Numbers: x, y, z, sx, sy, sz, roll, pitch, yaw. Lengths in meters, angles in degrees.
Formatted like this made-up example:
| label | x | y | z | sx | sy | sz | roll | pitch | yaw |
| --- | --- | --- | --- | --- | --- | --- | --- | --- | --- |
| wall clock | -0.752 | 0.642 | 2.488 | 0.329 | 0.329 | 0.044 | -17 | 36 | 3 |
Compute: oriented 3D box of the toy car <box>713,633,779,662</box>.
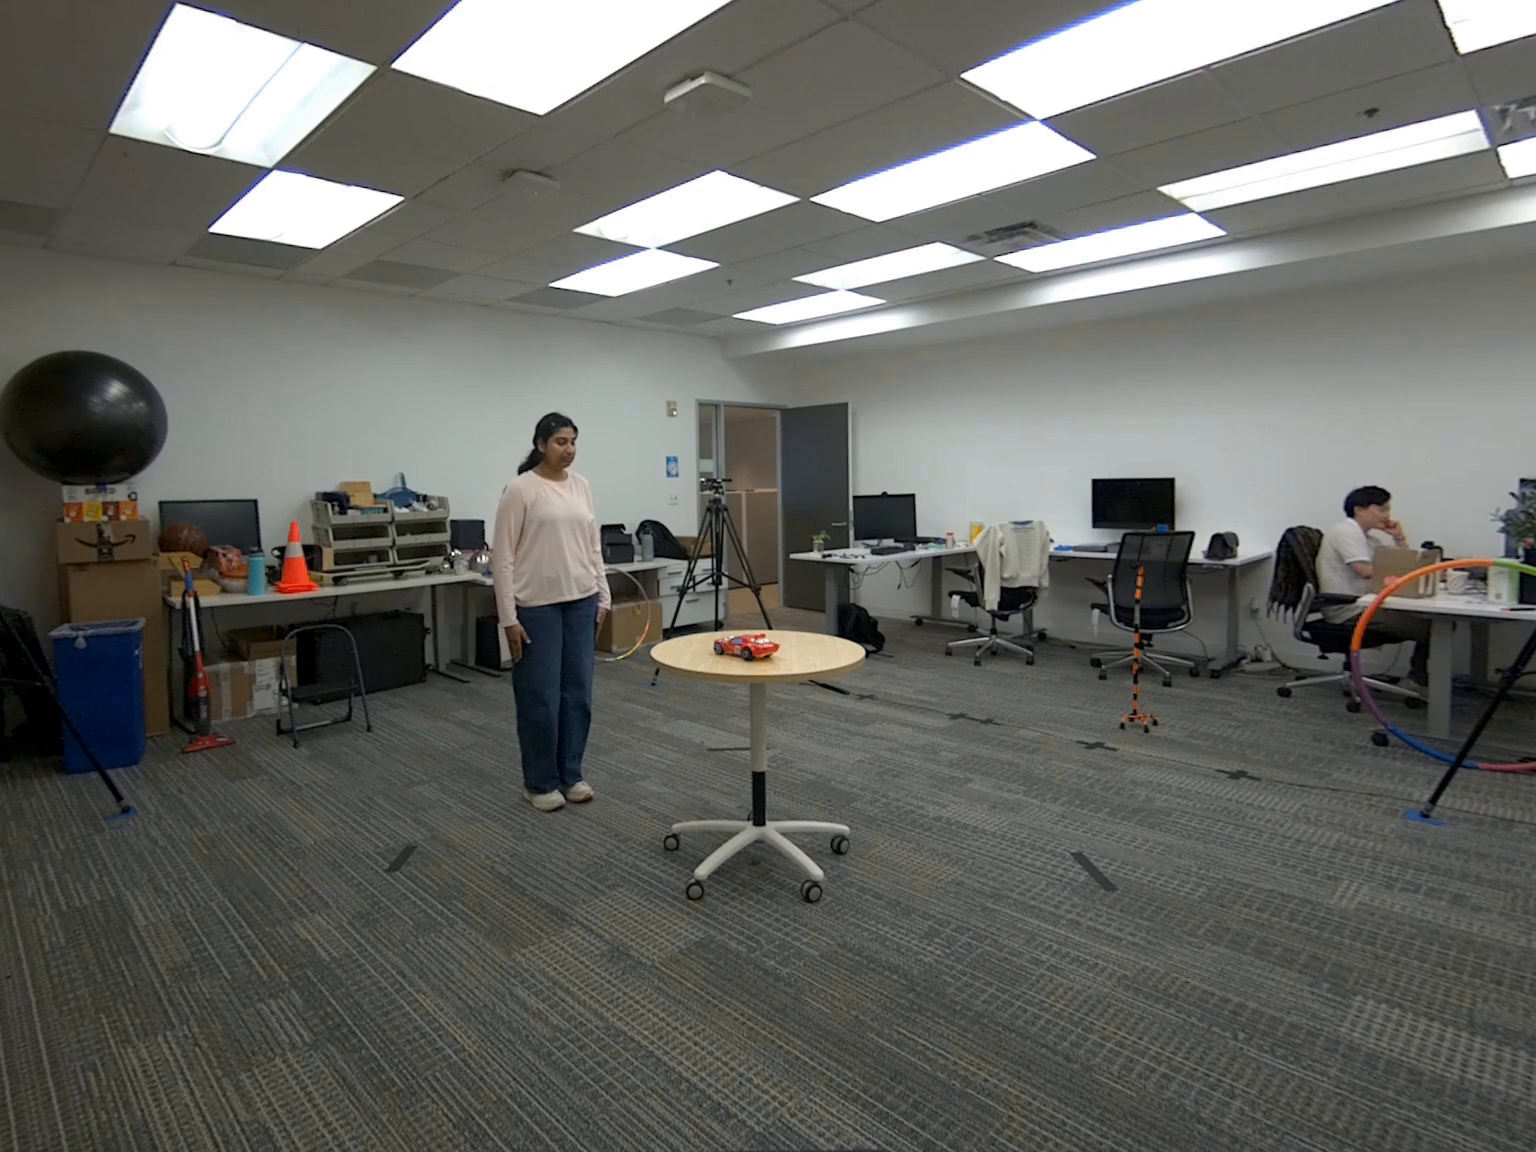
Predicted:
| label | x | y | z | sx | sy | sz | roll | pitch | yaw |
| --- | --- | --- | --- | --- | --- | --- | --- | --- | --- |
| toy car | -0.071 | 0.247 | 2.954 | 0.127 | 0.083 | 0.260 | -6 | -3 | -44 |
